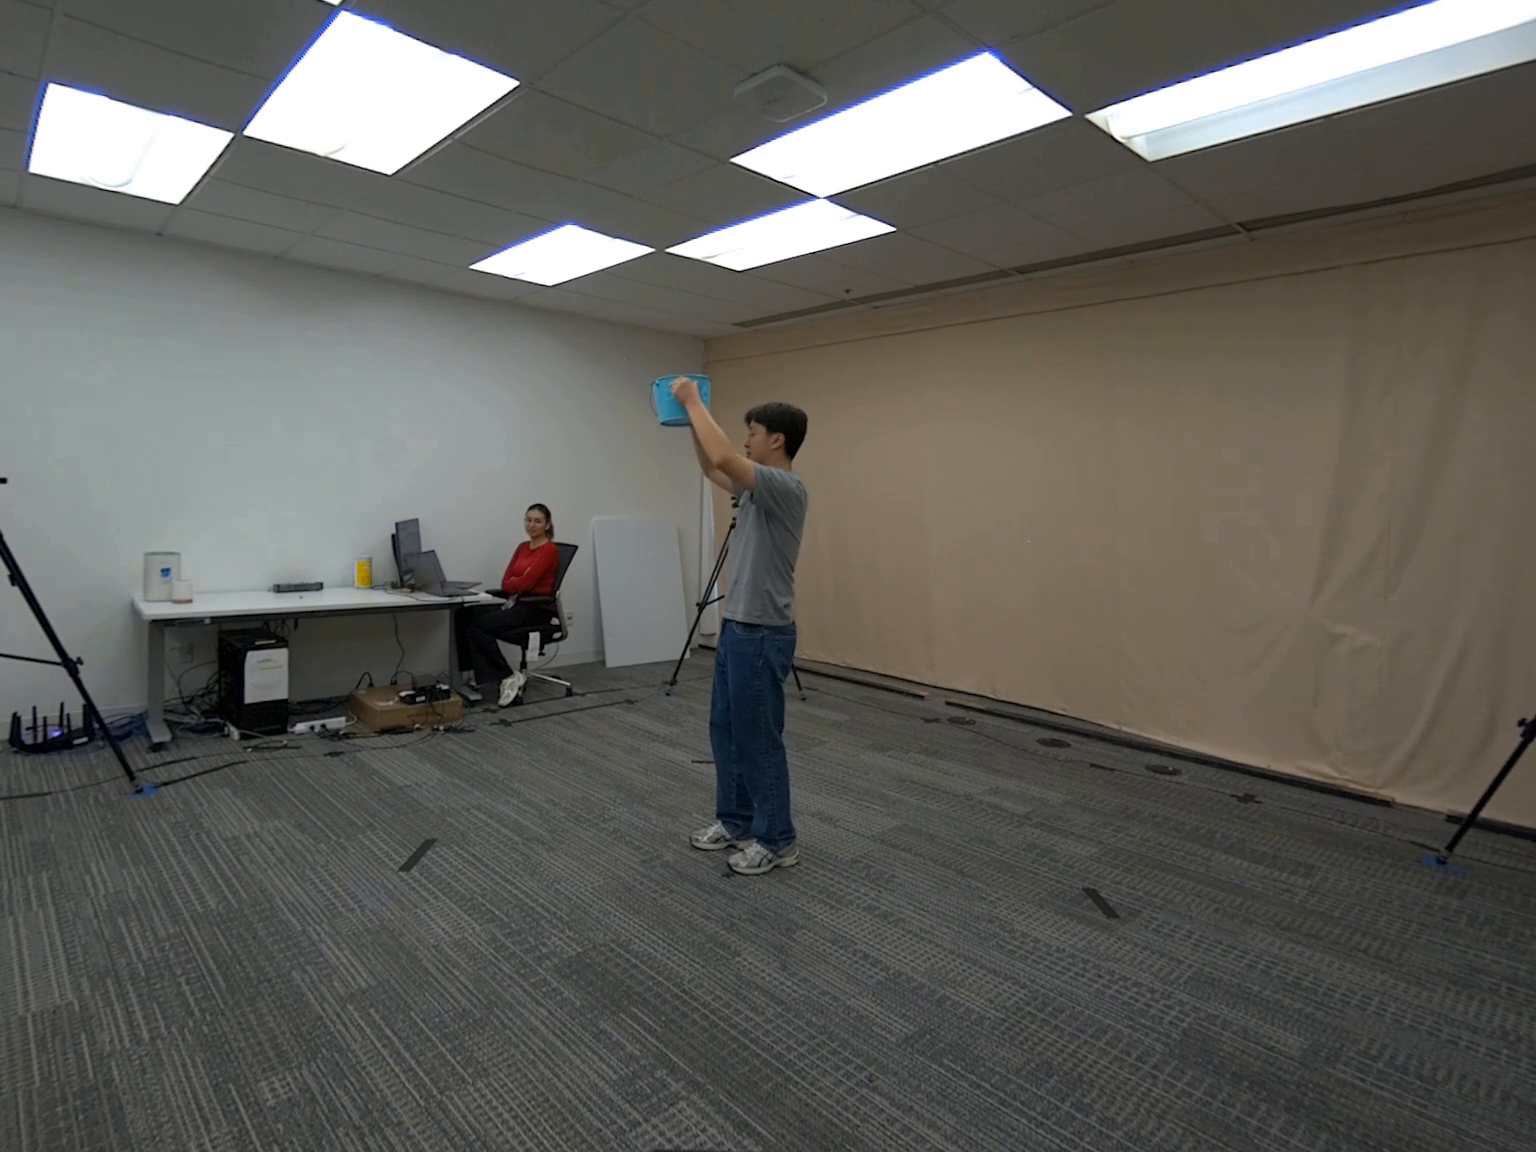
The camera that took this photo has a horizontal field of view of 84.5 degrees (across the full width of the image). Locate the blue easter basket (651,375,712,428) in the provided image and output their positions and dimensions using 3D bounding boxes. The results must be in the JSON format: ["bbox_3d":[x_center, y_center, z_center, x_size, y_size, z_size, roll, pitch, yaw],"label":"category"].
[{"bbox_3d":[-0.319,-0.646,3.163,0.243,0.156,0.244,-3,1,-1],"label":"blue easter basket"}]
